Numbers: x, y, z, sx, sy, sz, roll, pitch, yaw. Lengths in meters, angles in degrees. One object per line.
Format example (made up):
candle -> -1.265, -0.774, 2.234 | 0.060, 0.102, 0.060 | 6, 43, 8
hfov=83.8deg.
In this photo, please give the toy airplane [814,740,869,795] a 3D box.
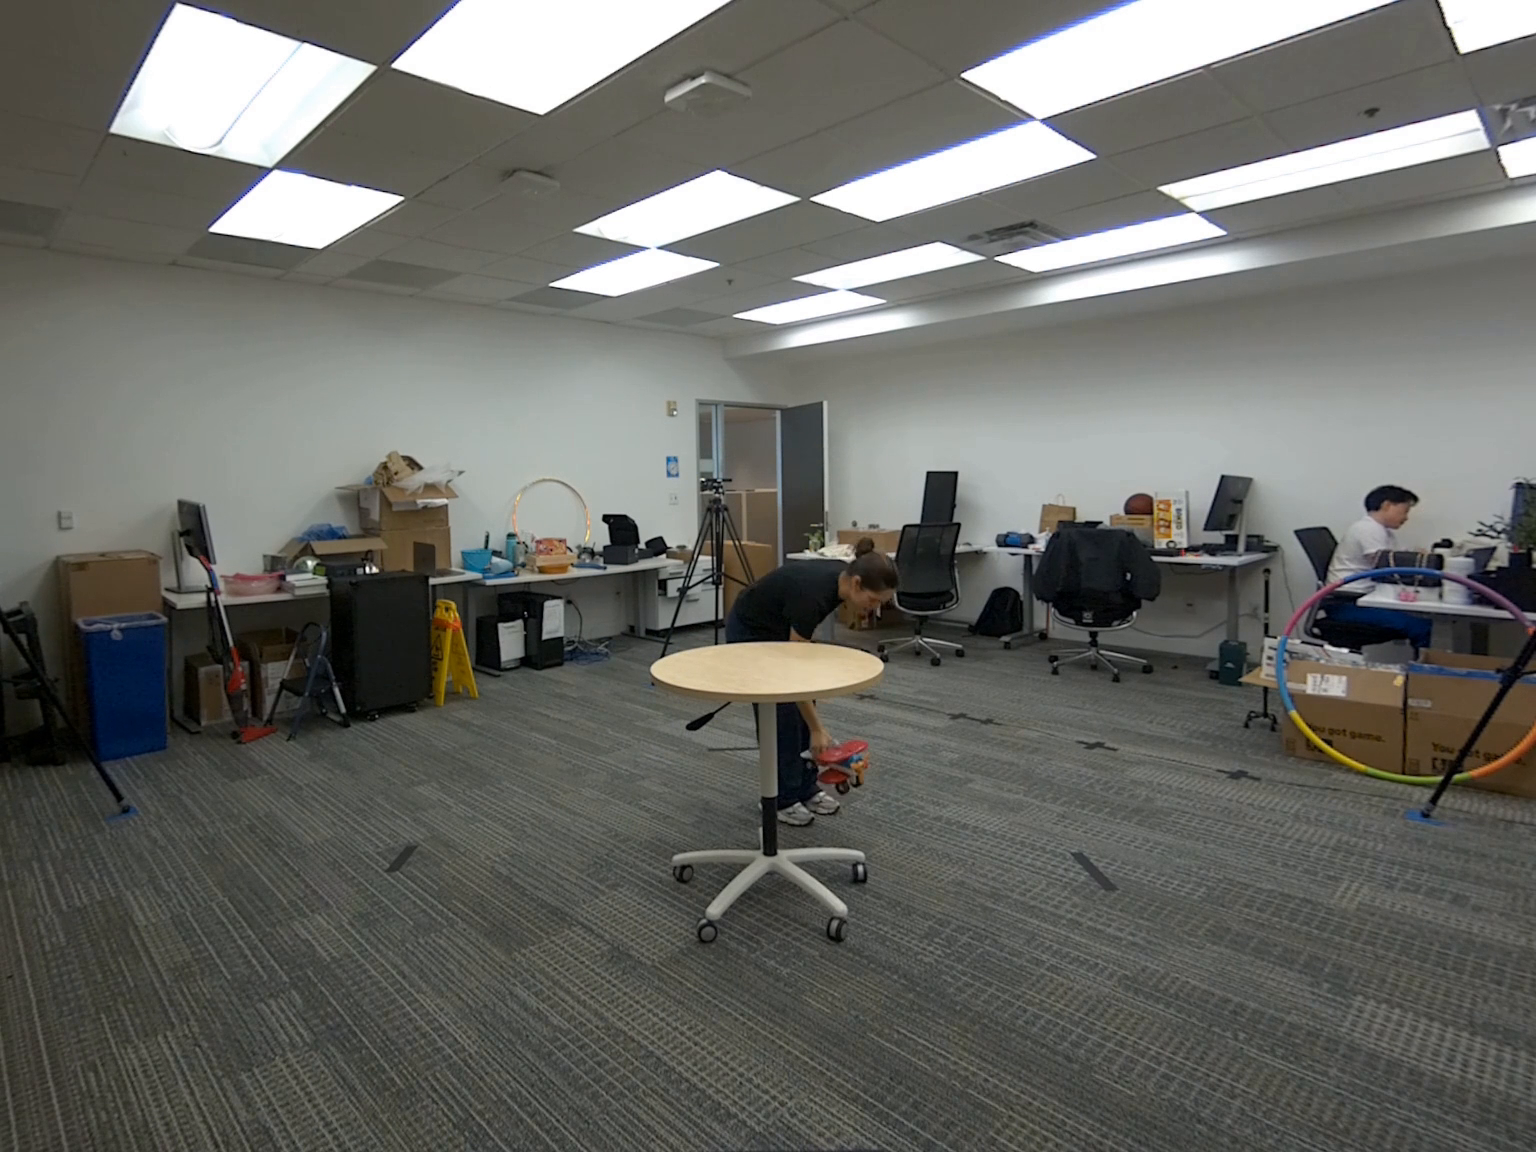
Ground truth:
toy airplane -> 0.250, 0.709, 3.277 | 0.263, 0.154, 0.251 | 14, 22, 13
